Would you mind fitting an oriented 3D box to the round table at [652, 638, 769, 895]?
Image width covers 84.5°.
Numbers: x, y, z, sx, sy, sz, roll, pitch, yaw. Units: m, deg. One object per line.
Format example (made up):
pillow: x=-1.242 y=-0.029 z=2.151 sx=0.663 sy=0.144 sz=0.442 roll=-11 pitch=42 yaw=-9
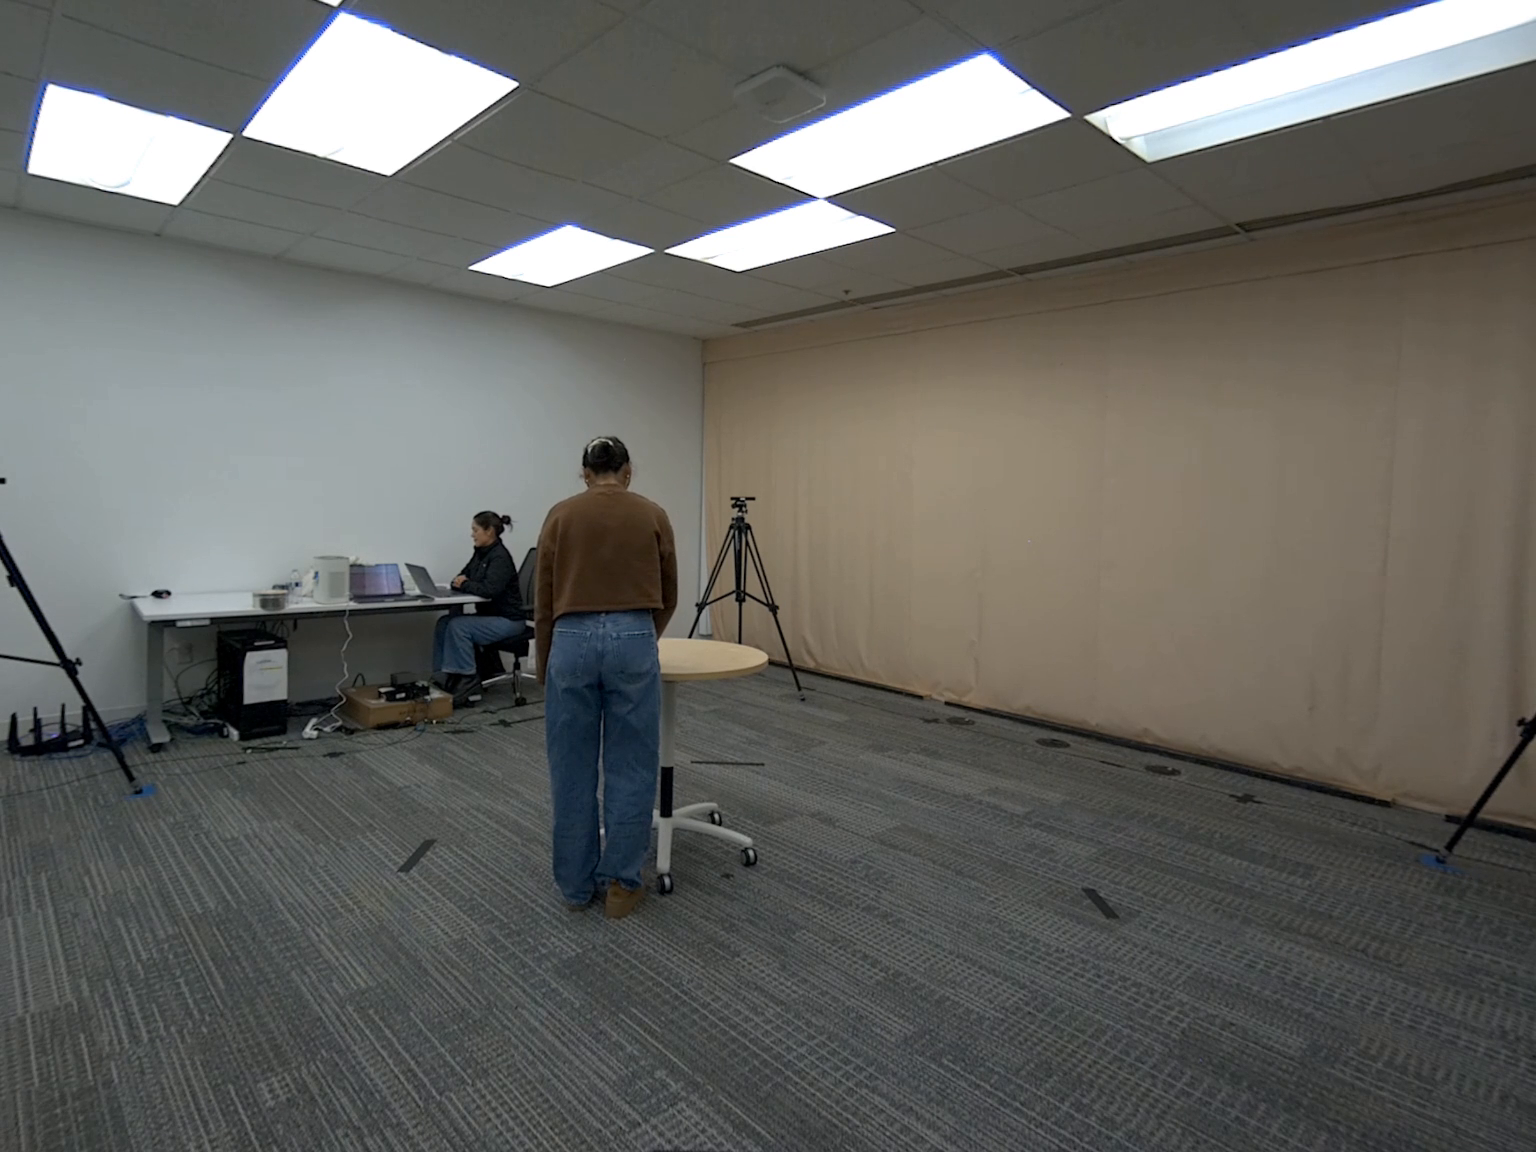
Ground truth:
round table: x=-0.398 y=0.698 z=3.294 sx=0.763 sy=0.792 sz=0.766 roll=1 pitch=4 yaw=-1
